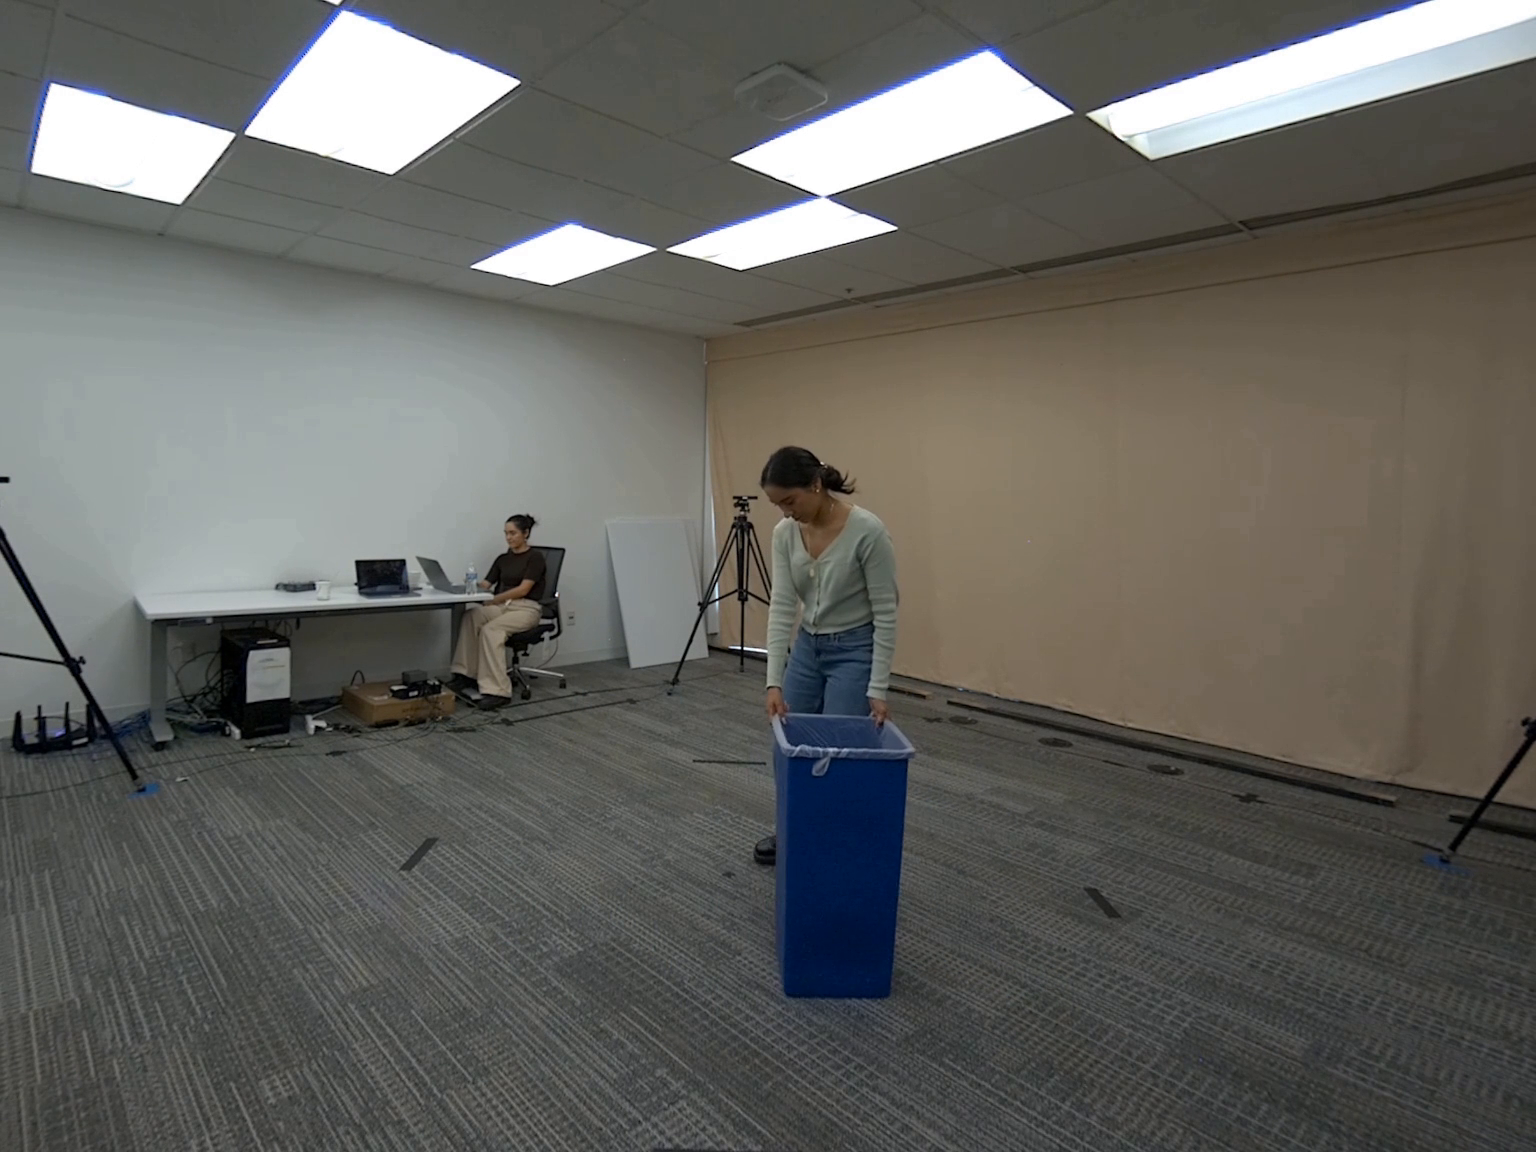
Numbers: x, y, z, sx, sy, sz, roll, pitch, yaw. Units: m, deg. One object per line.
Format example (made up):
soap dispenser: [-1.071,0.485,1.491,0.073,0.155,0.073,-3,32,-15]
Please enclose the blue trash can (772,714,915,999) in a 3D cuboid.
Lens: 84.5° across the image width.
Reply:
blue trash can: [0.181,0.807,2.477,0.377,0.712,0.375,2,3,-3]
